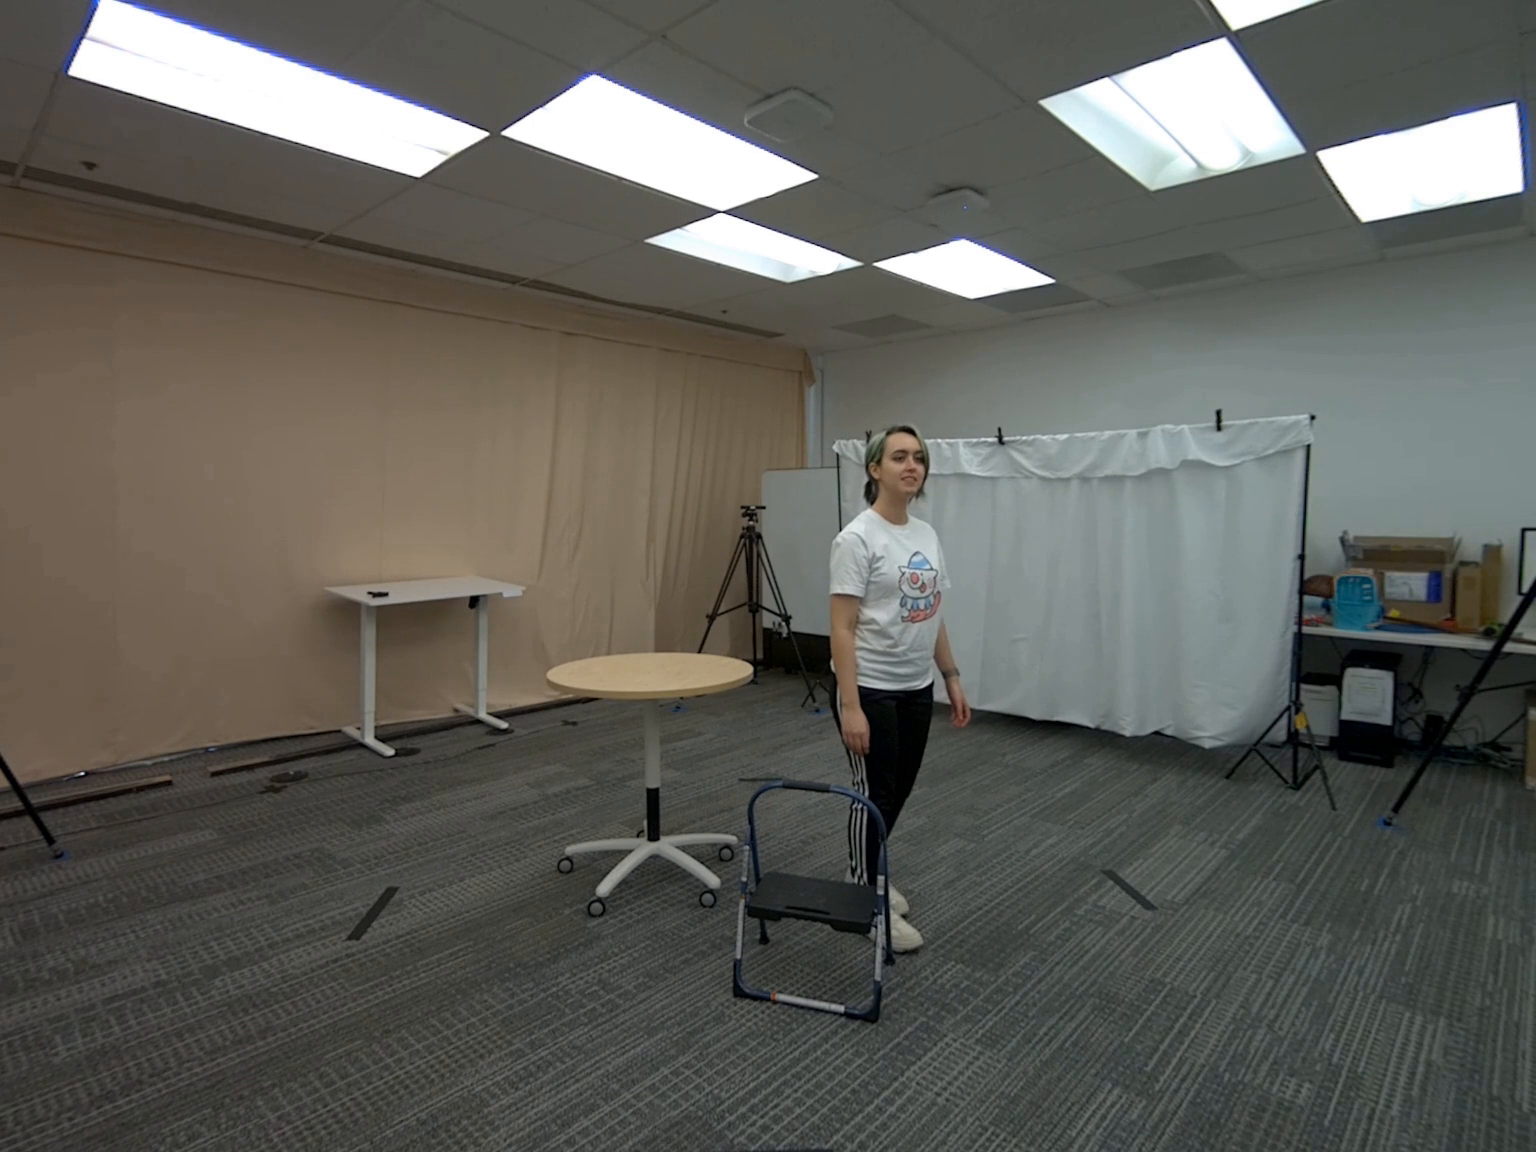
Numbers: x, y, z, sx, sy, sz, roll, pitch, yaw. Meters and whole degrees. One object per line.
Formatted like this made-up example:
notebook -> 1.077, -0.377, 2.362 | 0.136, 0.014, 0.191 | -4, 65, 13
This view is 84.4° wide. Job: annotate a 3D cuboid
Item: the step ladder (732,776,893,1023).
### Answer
step ladder -> 0.140, 0.884, 2.469 | 0.438, 0.605, 0.344 | 1, 3, 16
